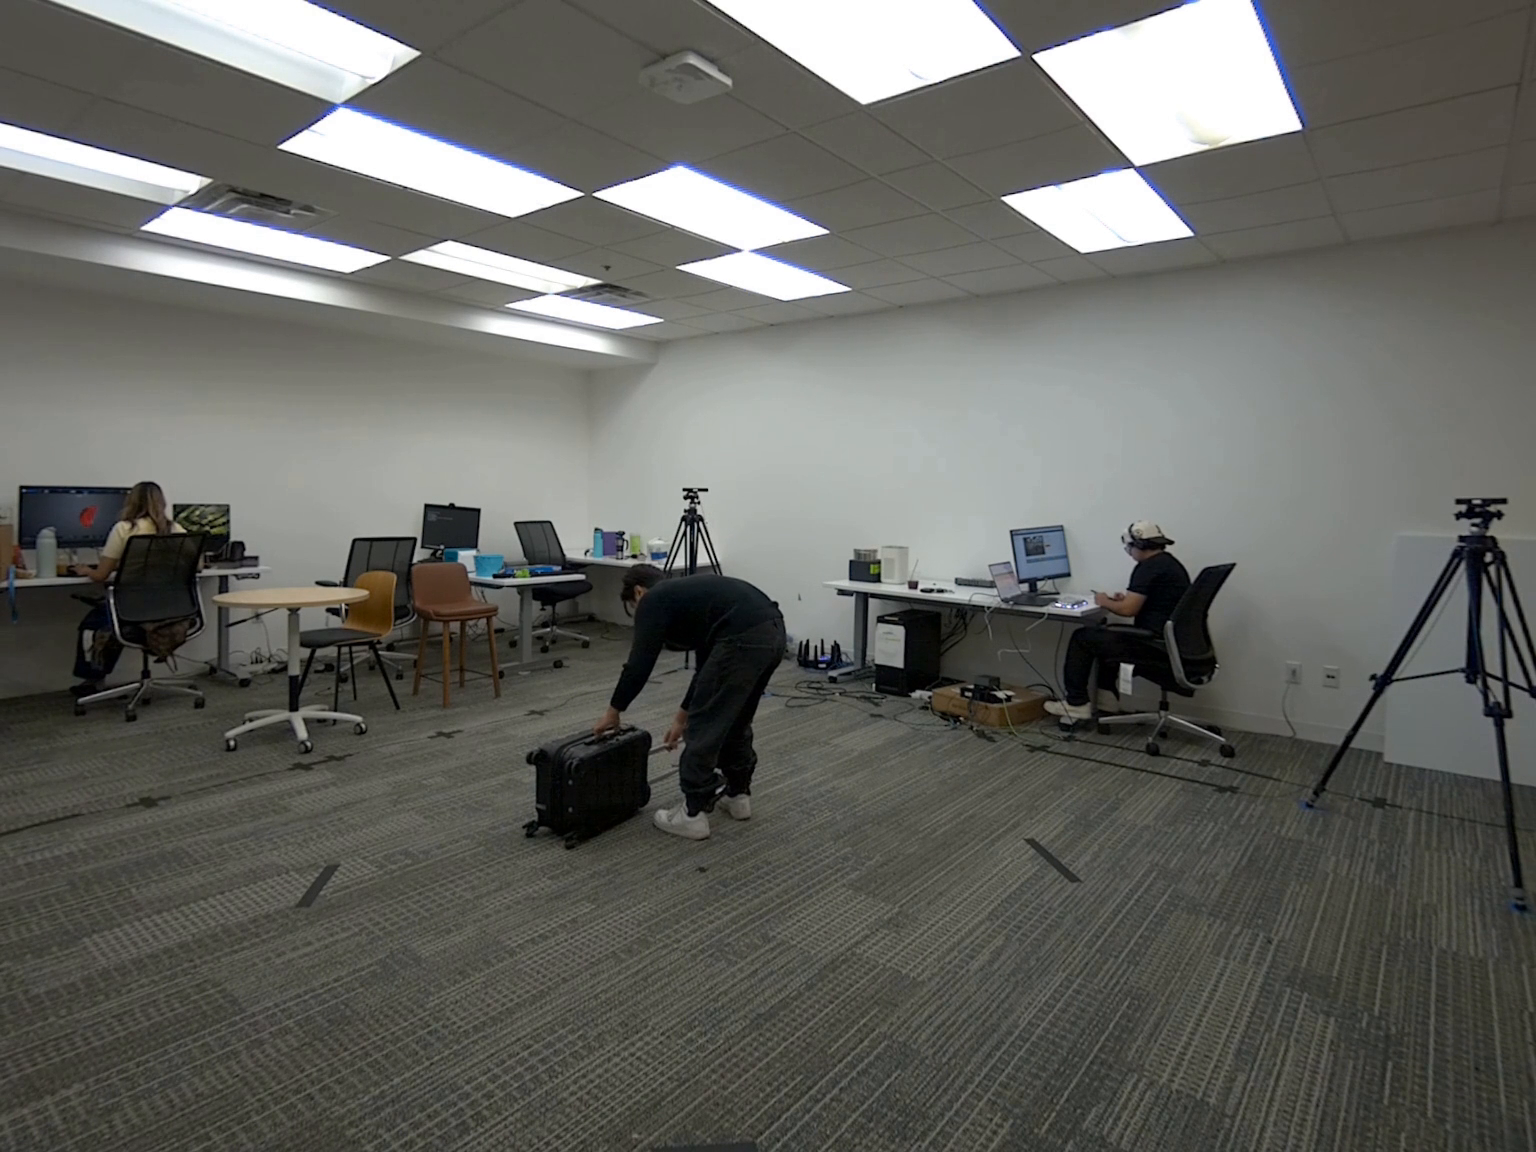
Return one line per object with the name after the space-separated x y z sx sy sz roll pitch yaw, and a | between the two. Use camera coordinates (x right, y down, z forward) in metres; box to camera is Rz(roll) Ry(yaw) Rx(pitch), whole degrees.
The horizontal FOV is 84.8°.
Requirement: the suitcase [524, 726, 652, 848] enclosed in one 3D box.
-0.642 0.822 3.703 0.264 0.382 0.954 3 6 29 | suitcase
